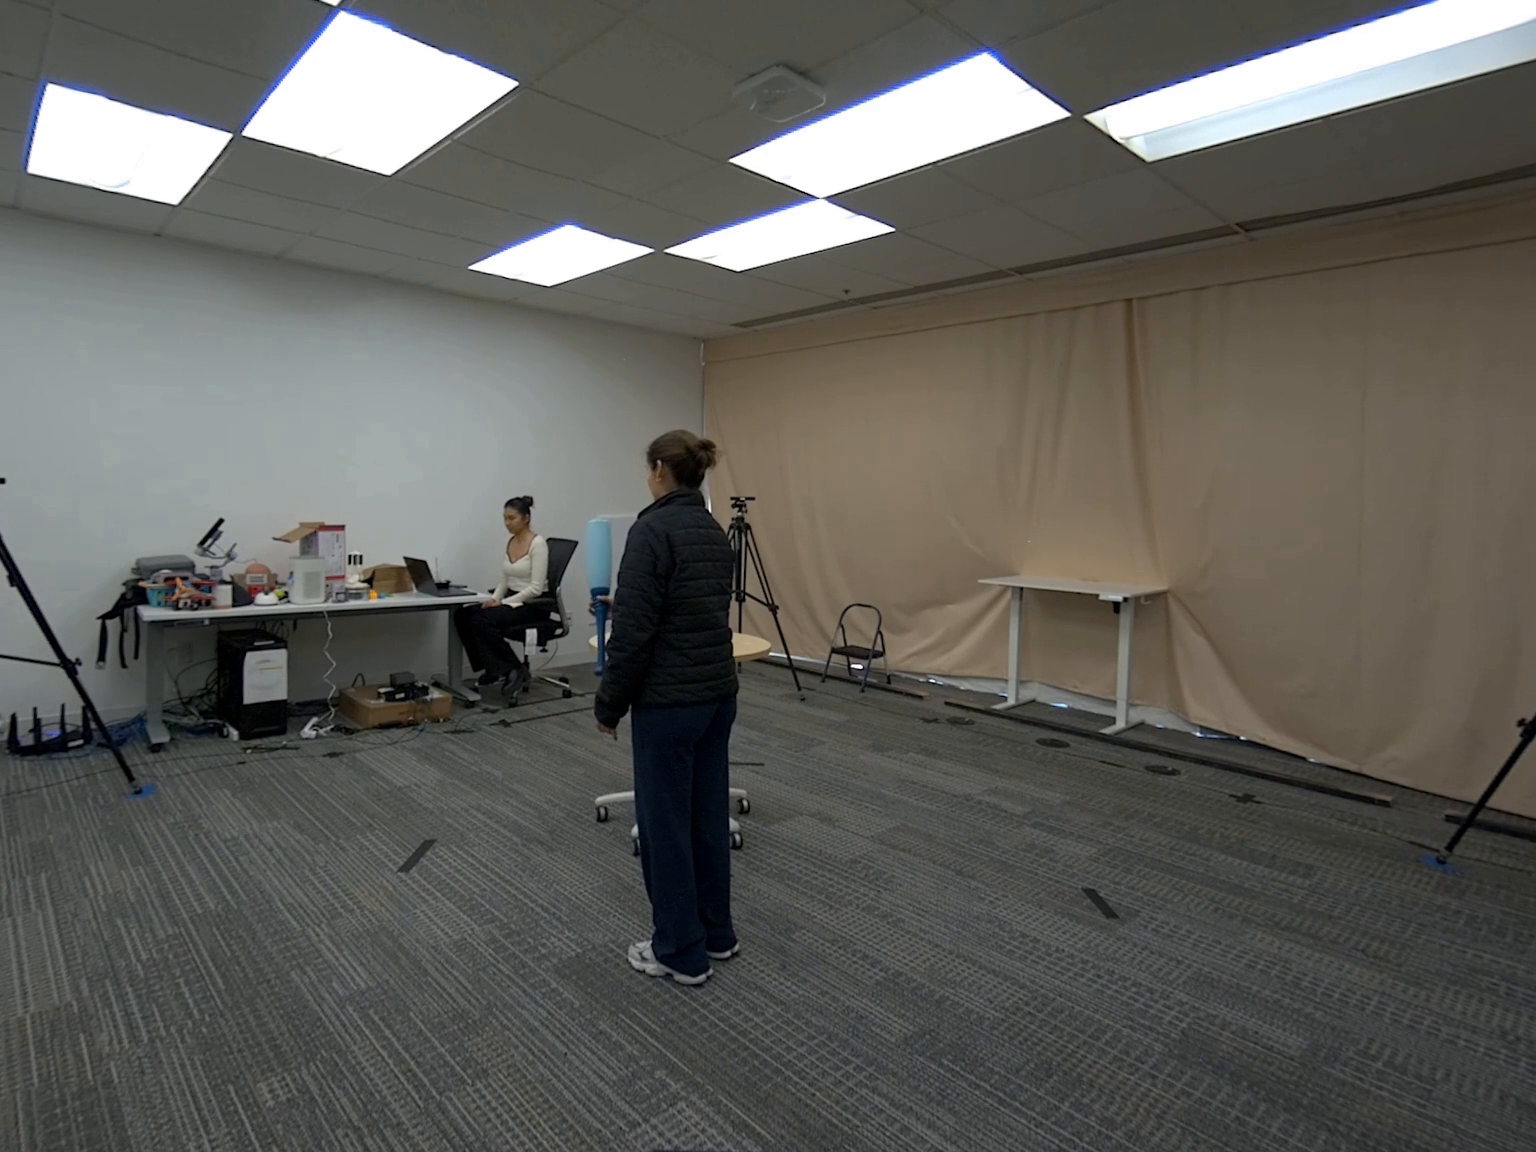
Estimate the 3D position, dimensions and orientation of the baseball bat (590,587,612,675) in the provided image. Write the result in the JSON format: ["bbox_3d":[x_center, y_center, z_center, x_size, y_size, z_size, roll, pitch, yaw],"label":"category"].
[{"bbox_3d":[-0.581,0.065,2.832,0.089,0.551,0.088,-2,-19,-2],"label":"baseball bat"}]
